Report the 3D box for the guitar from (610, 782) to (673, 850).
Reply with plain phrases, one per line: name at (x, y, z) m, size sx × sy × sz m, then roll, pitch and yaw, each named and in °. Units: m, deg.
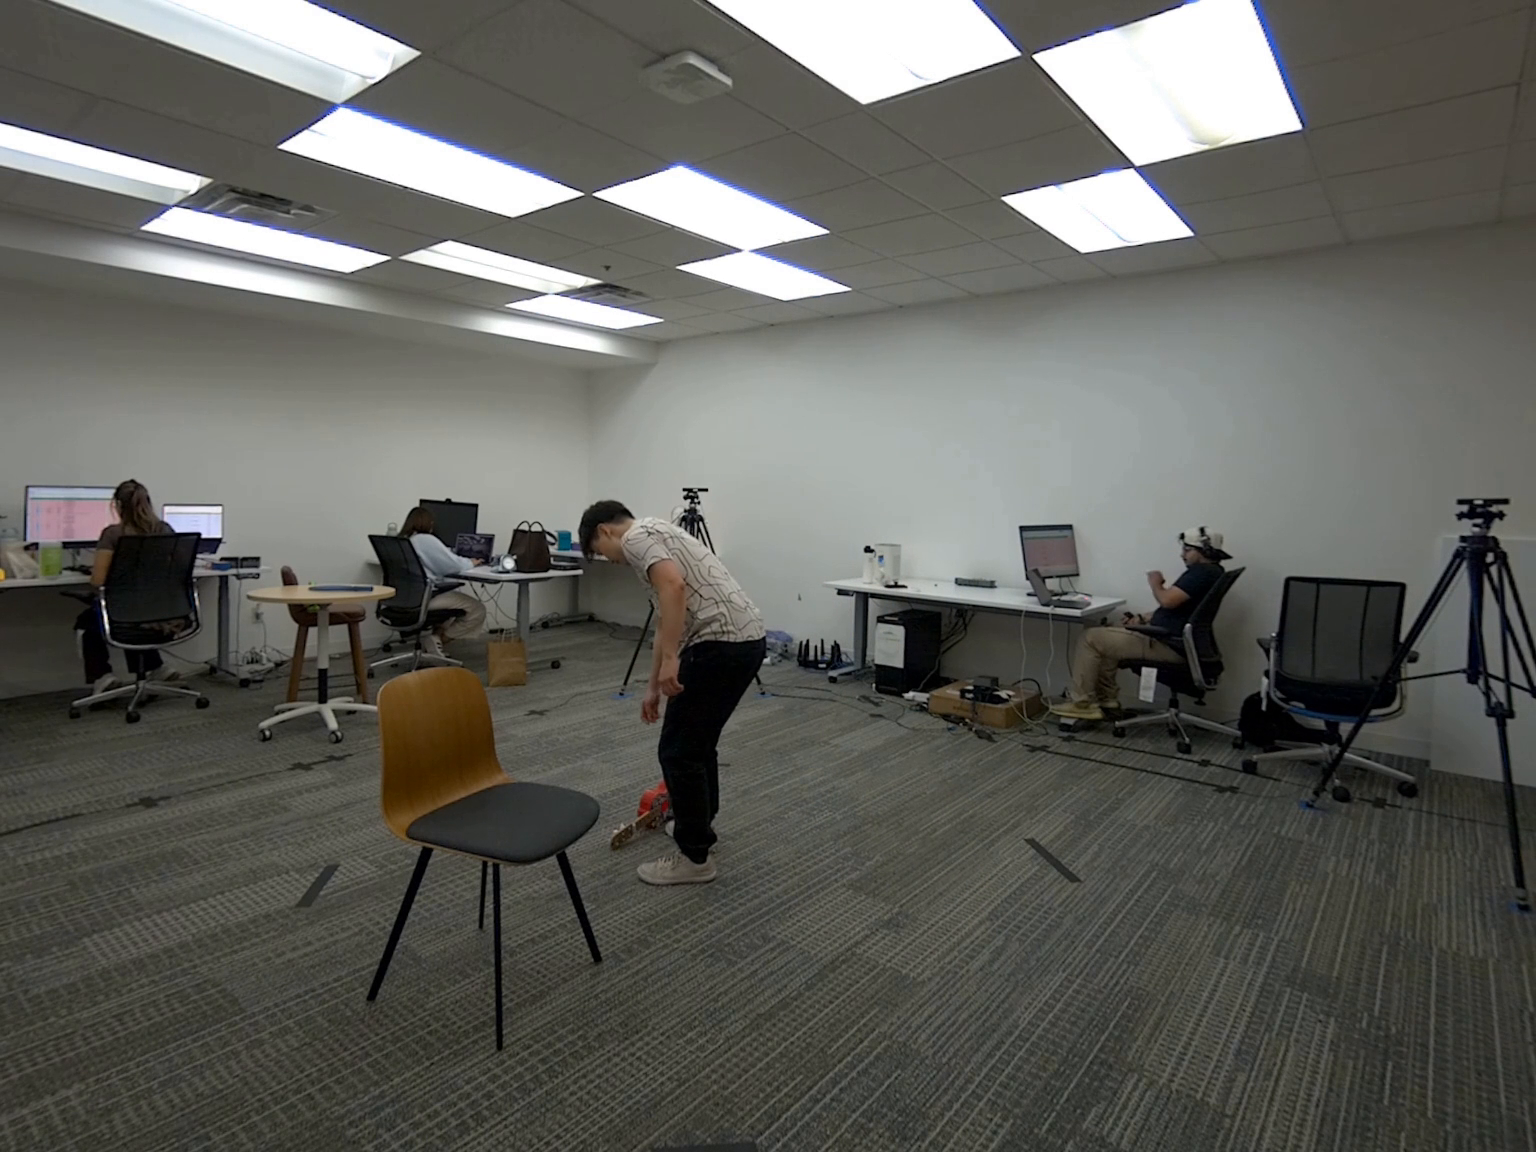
guitar at (-0.498, 0.937, 3.461) m, size 0.073 × 0.192 × 0.484 m, roll 8°, pitch 9°, yaw 32°
